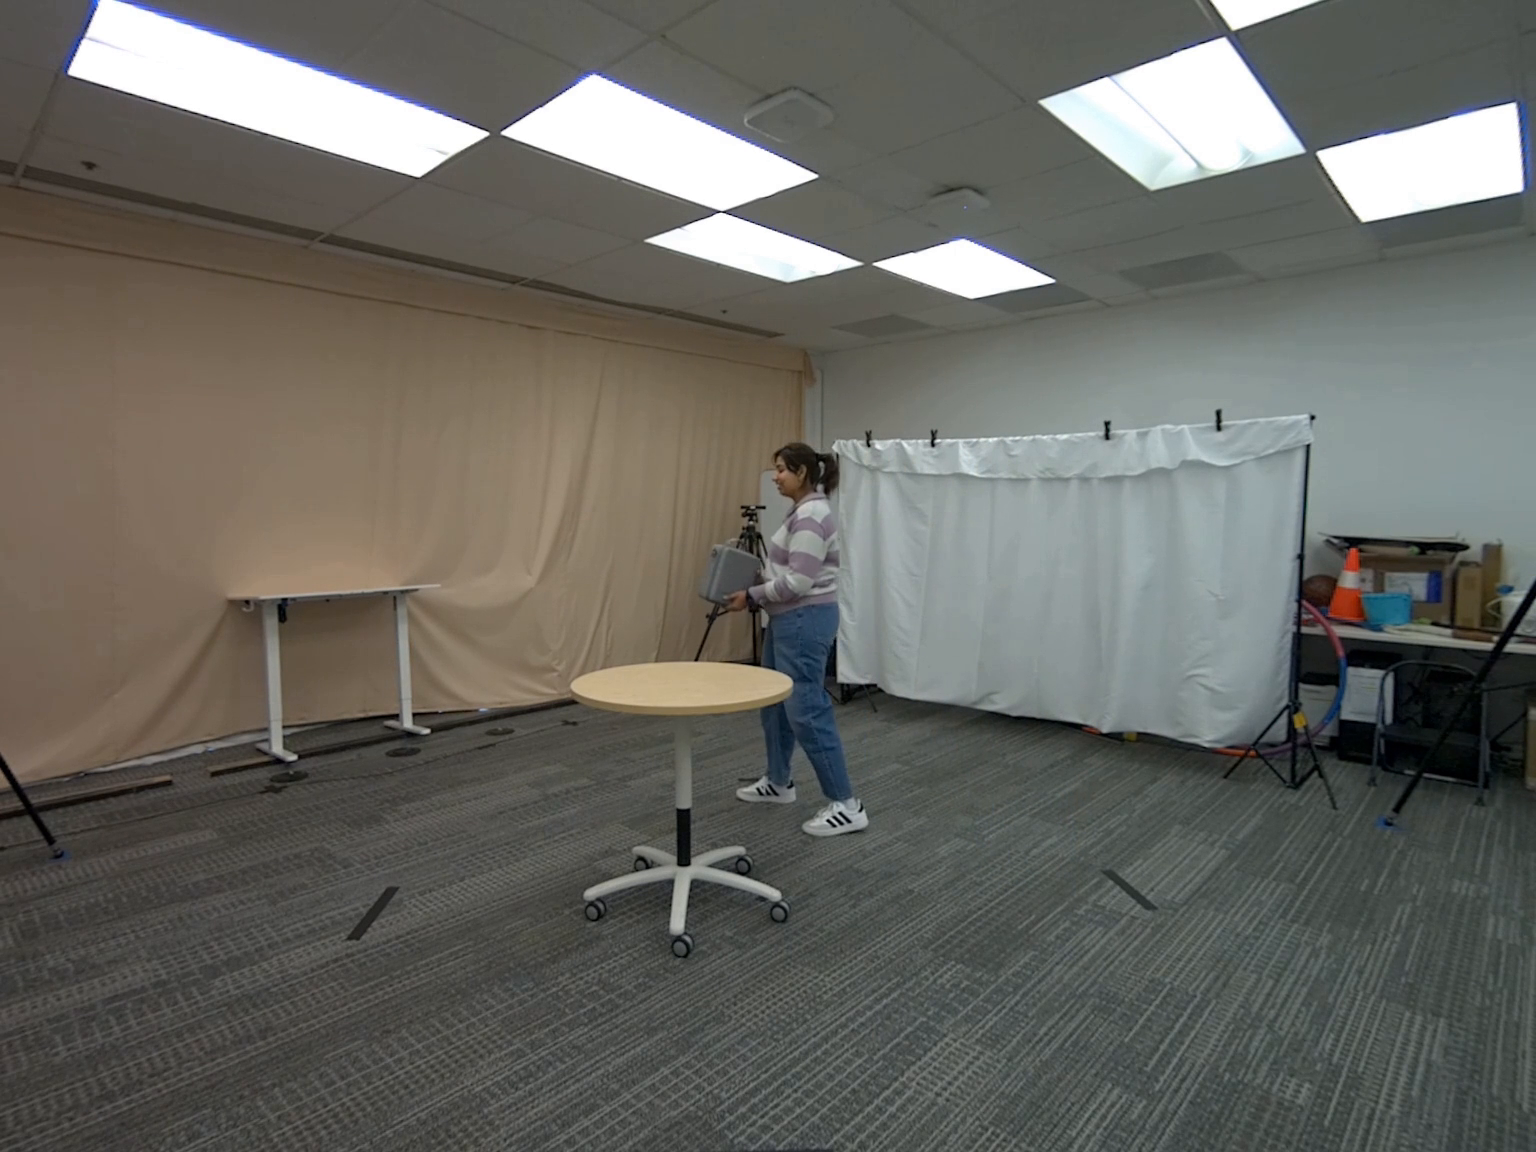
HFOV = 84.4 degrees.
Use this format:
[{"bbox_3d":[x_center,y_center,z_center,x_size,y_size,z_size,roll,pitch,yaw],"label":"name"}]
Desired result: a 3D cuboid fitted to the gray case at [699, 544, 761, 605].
[{"bbox_3d":[-0.167,0.003,3.719,0.108,0.261,0.247,15,-3,43],"label":"gray case"}]
